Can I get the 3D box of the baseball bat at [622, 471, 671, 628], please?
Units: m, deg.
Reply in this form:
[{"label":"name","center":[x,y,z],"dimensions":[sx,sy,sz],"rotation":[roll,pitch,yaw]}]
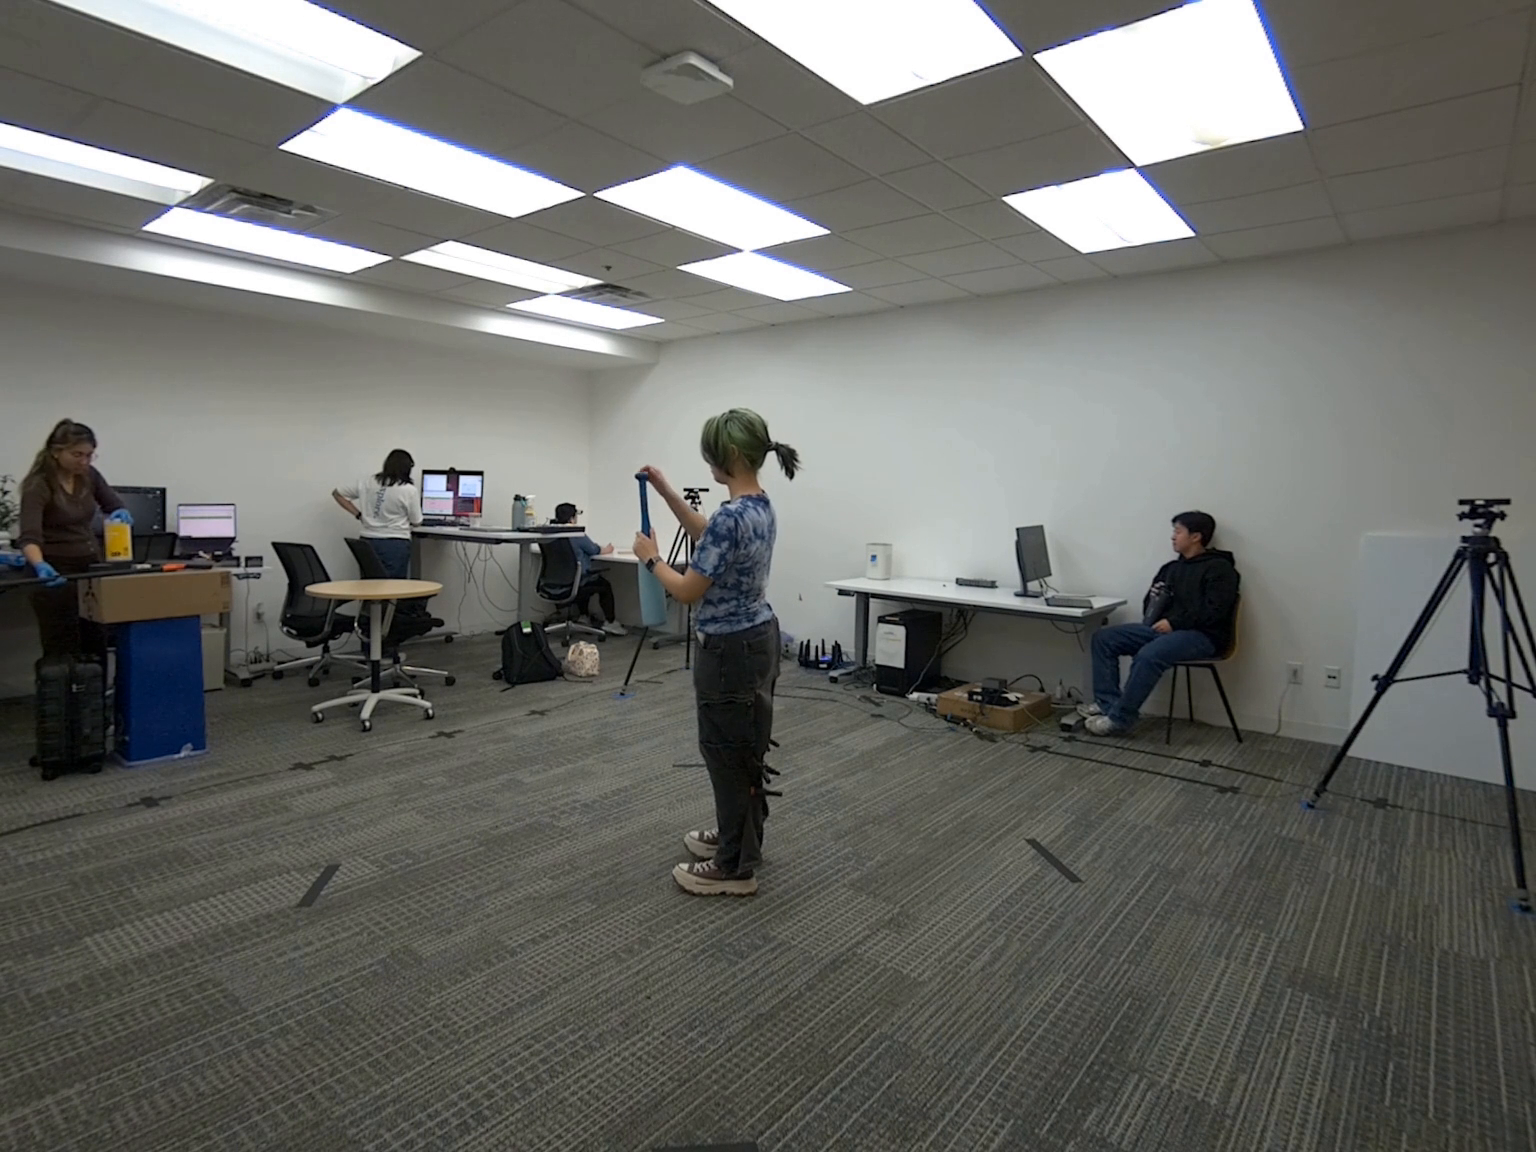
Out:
[{"label":"baseball bat","center":[-0.433,-0.097,2.992],"dimensions":[0.089,0.544,0.089],"rotation":[-8,-1,-2]}]
